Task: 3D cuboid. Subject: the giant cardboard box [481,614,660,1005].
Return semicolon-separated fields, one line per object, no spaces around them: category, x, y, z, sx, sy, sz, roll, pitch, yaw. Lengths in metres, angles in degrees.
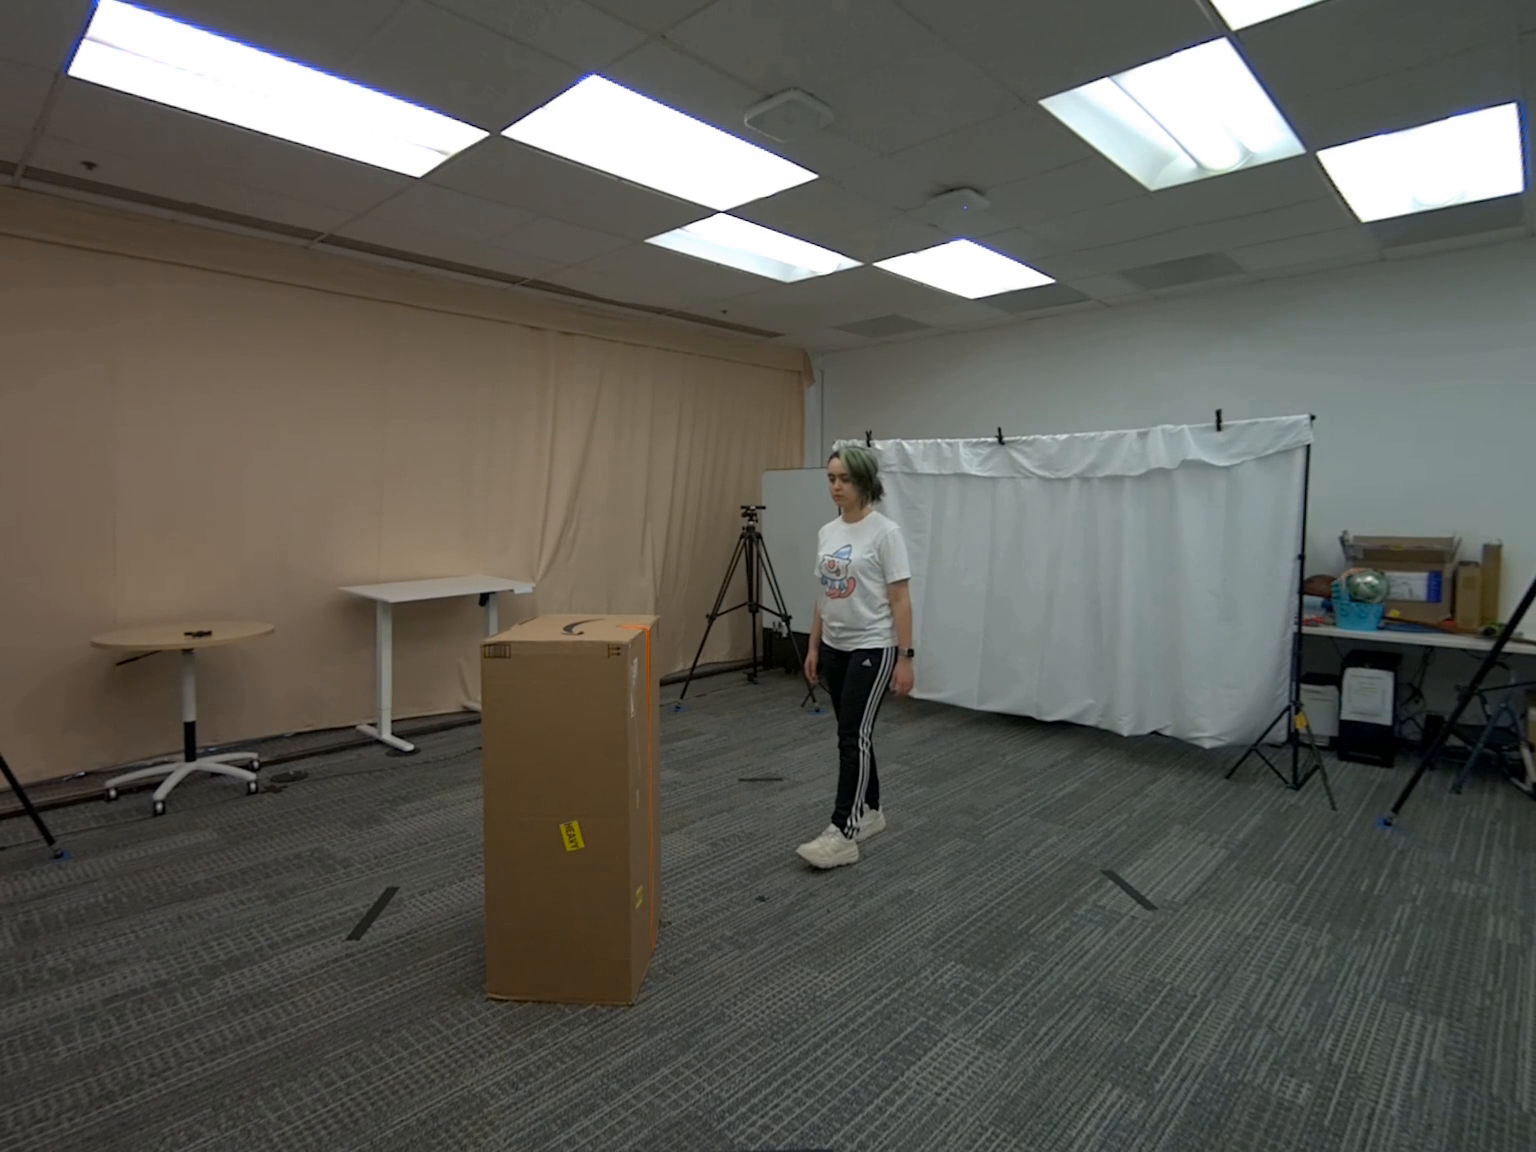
giant cardboard box;-0.583;0.669;2.621;0.448;1.025;0.583;0;2;2
